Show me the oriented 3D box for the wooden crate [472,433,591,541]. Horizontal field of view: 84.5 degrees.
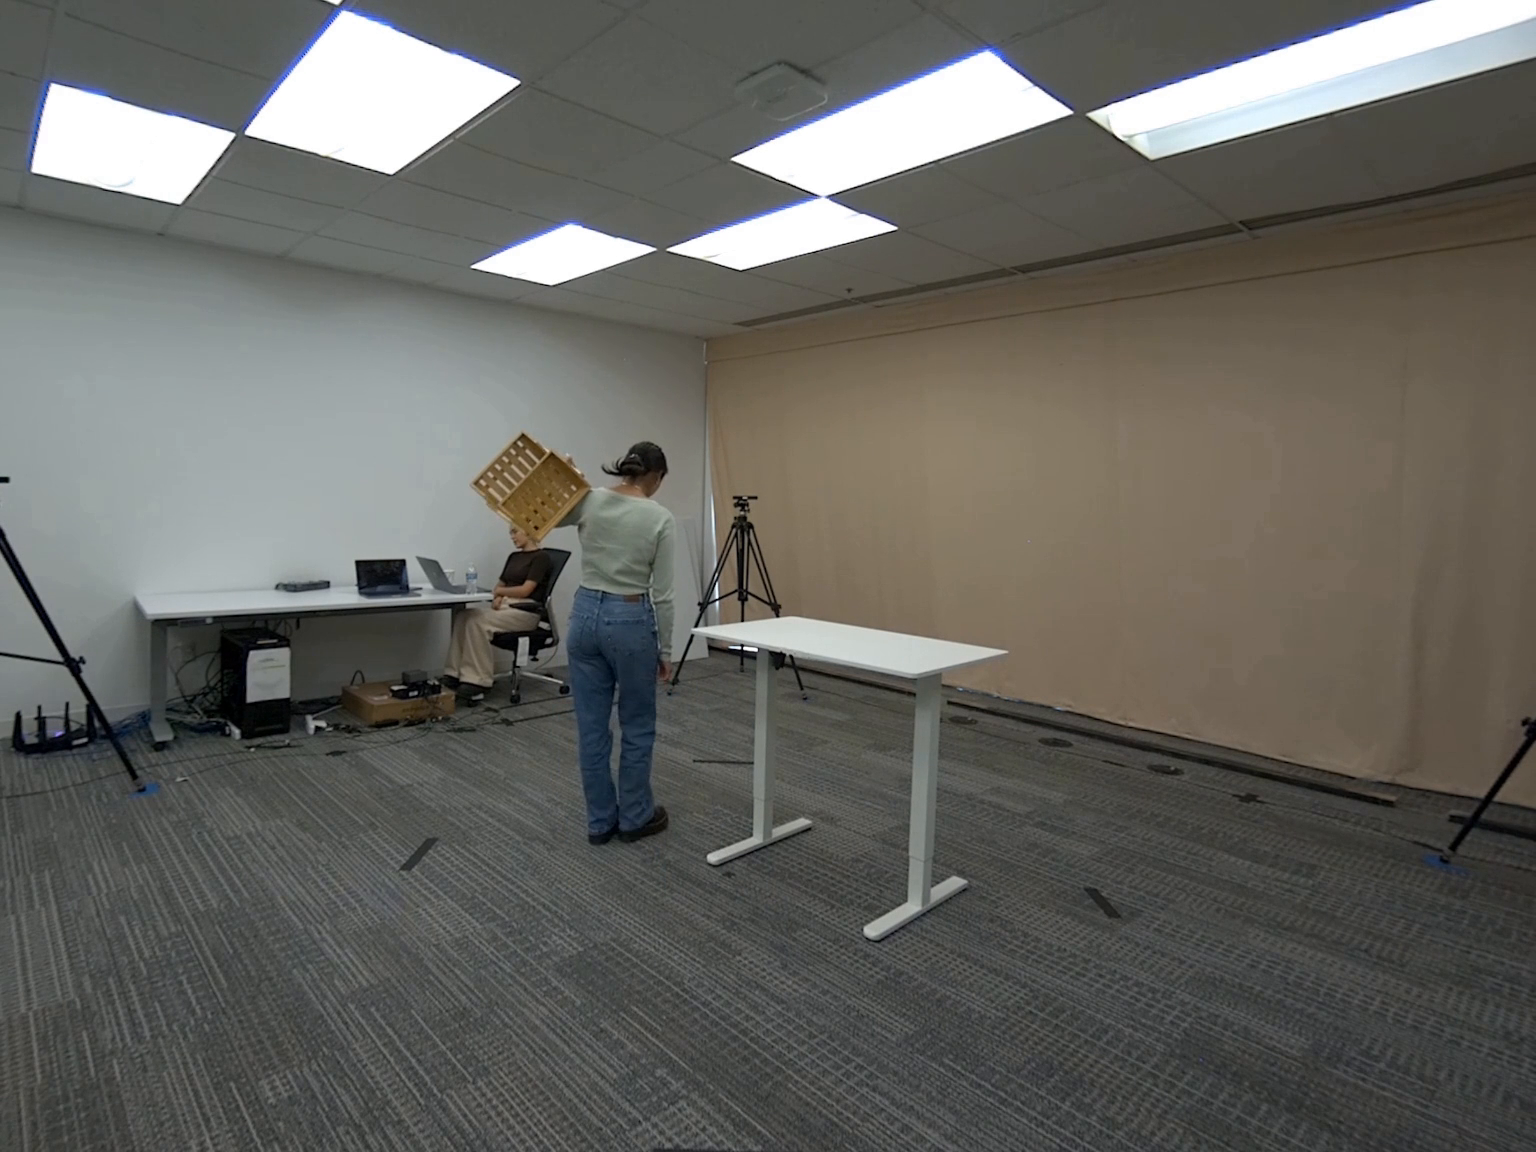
[{"bbox_3d":[-0.940,-0.356,3.305,0.294,0.324,0.281,48,-14,-30],"label":"wooden crate"}]
